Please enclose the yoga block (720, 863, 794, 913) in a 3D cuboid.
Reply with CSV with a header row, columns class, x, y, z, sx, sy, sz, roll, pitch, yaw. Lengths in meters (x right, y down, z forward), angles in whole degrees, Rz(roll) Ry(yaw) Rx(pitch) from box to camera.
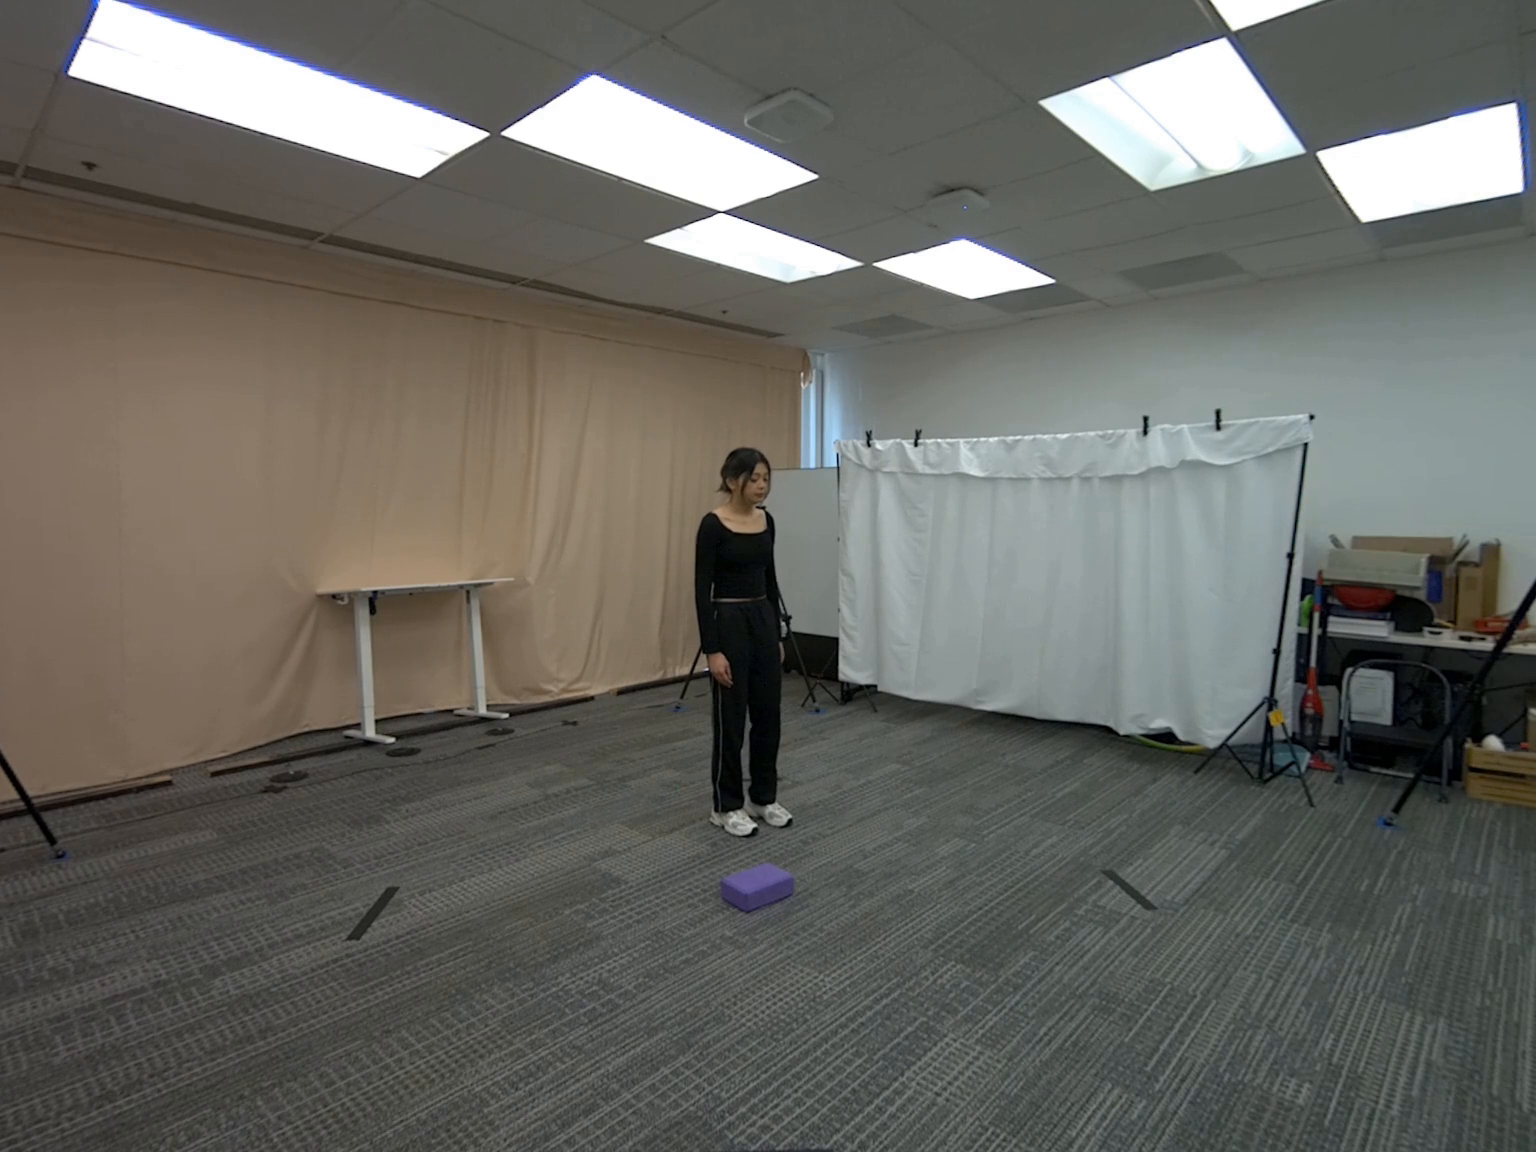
class,x,y,z,sx,sy,sz,roll,pitch,yaw
yoga block,-0.037,1.096,2.993,0.222,0.076,0.154,-4,7,-40
